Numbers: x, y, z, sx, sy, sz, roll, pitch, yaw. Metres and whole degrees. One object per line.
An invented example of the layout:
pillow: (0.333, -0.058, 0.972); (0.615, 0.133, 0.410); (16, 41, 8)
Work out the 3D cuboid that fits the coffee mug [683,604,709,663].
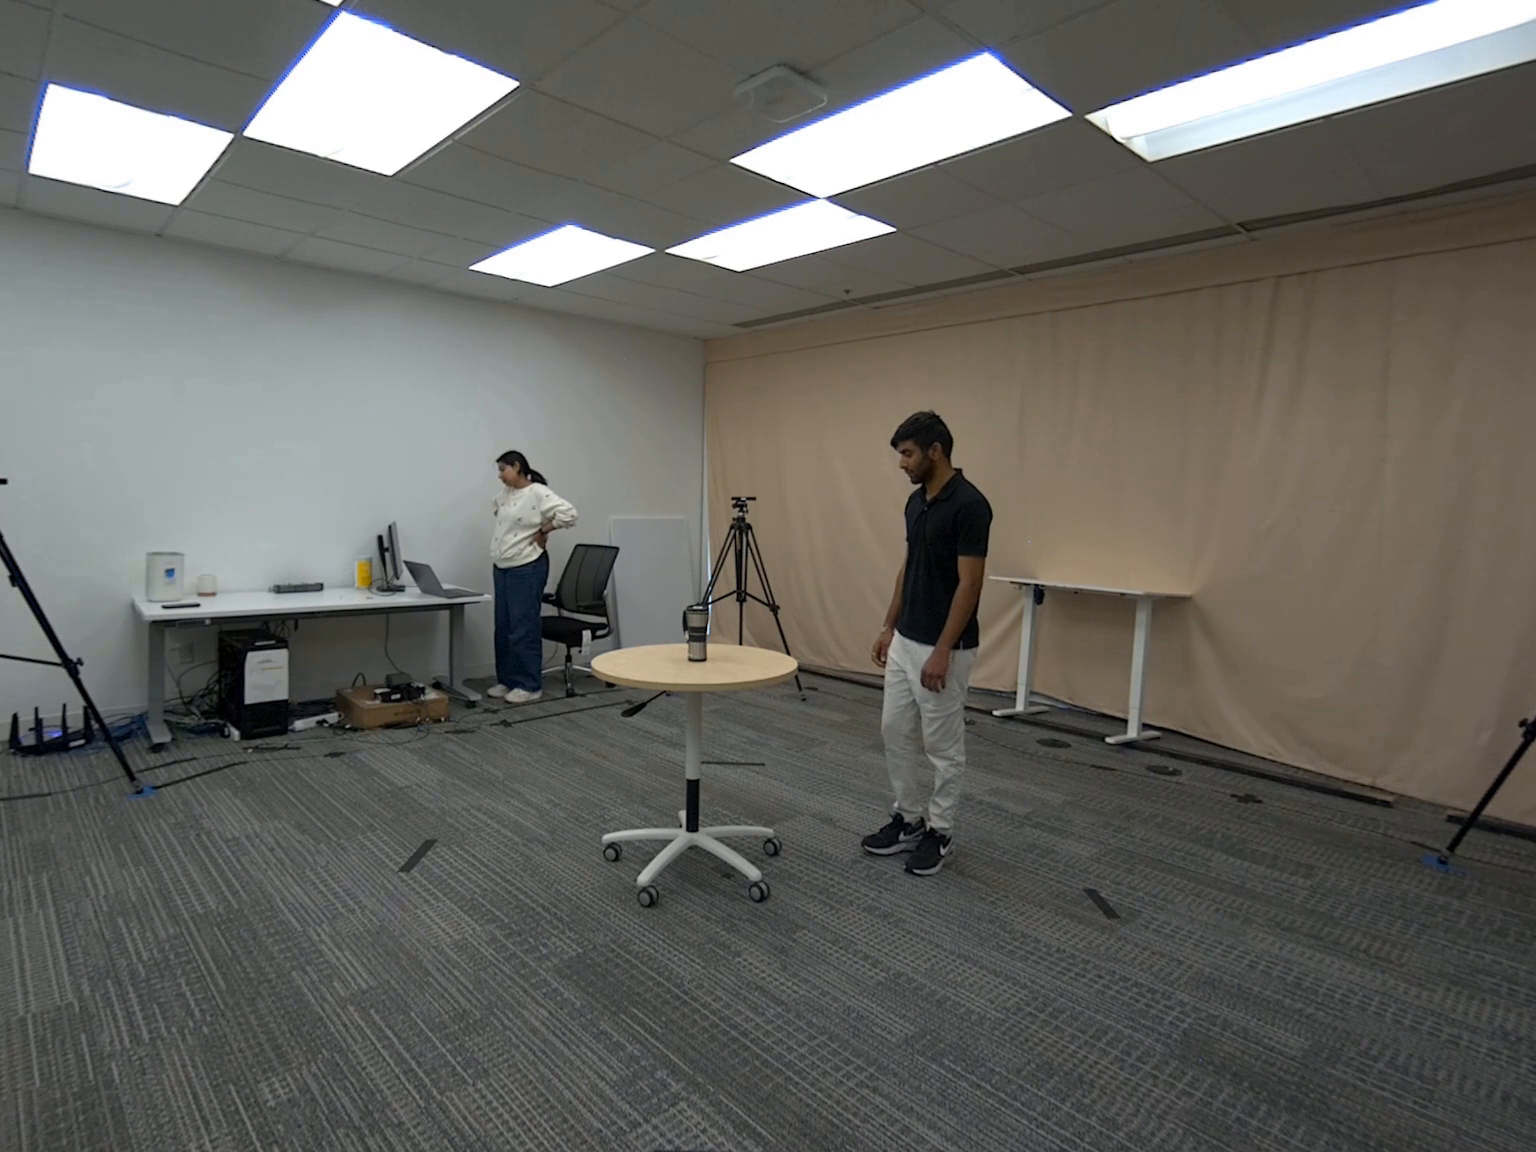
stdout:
coffee mug: (-0.253, 0.219, 3.161); (0.090, 0.203, 0.119); (-4, -1, 40)
